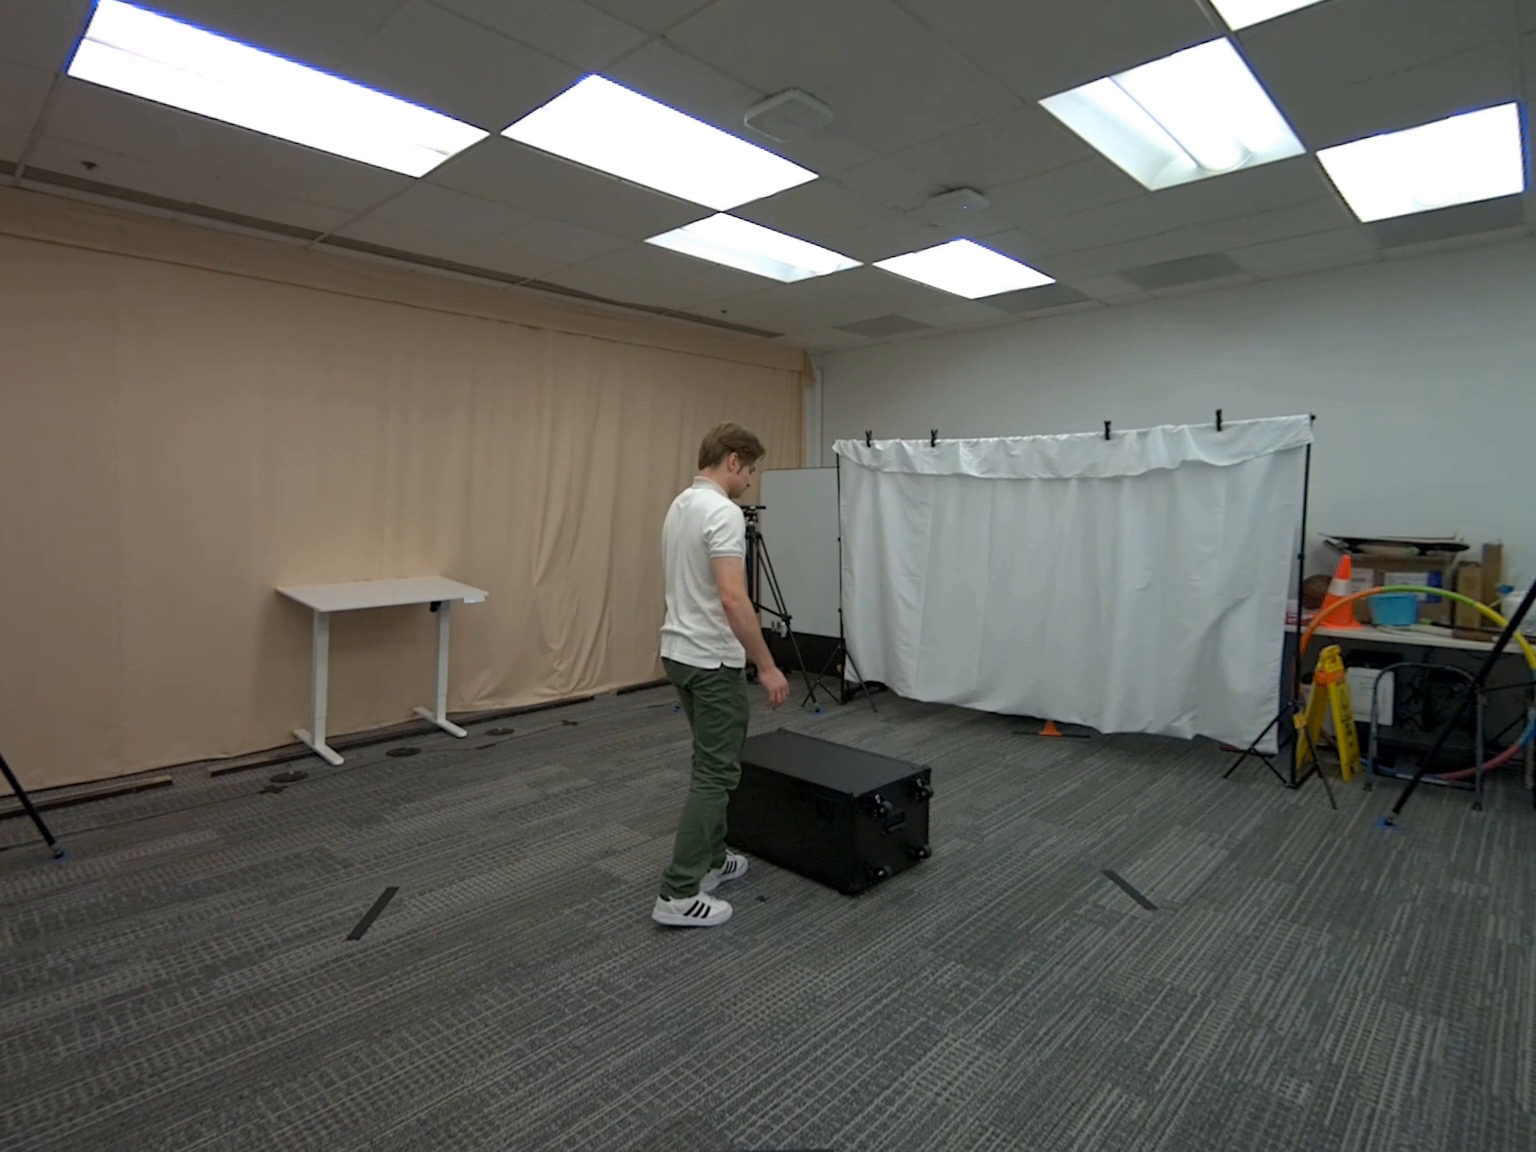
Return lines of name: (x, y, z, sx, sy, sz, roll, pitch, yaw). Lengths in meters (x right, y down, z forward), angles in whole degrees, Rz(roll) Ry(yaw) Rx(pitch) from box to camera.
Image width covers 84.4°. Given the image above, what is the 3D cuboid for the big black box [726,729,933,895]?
big black box: (0.208, 0.918, 3.376, 0.890, 0.395, 0.505, 3, 5, 44)
